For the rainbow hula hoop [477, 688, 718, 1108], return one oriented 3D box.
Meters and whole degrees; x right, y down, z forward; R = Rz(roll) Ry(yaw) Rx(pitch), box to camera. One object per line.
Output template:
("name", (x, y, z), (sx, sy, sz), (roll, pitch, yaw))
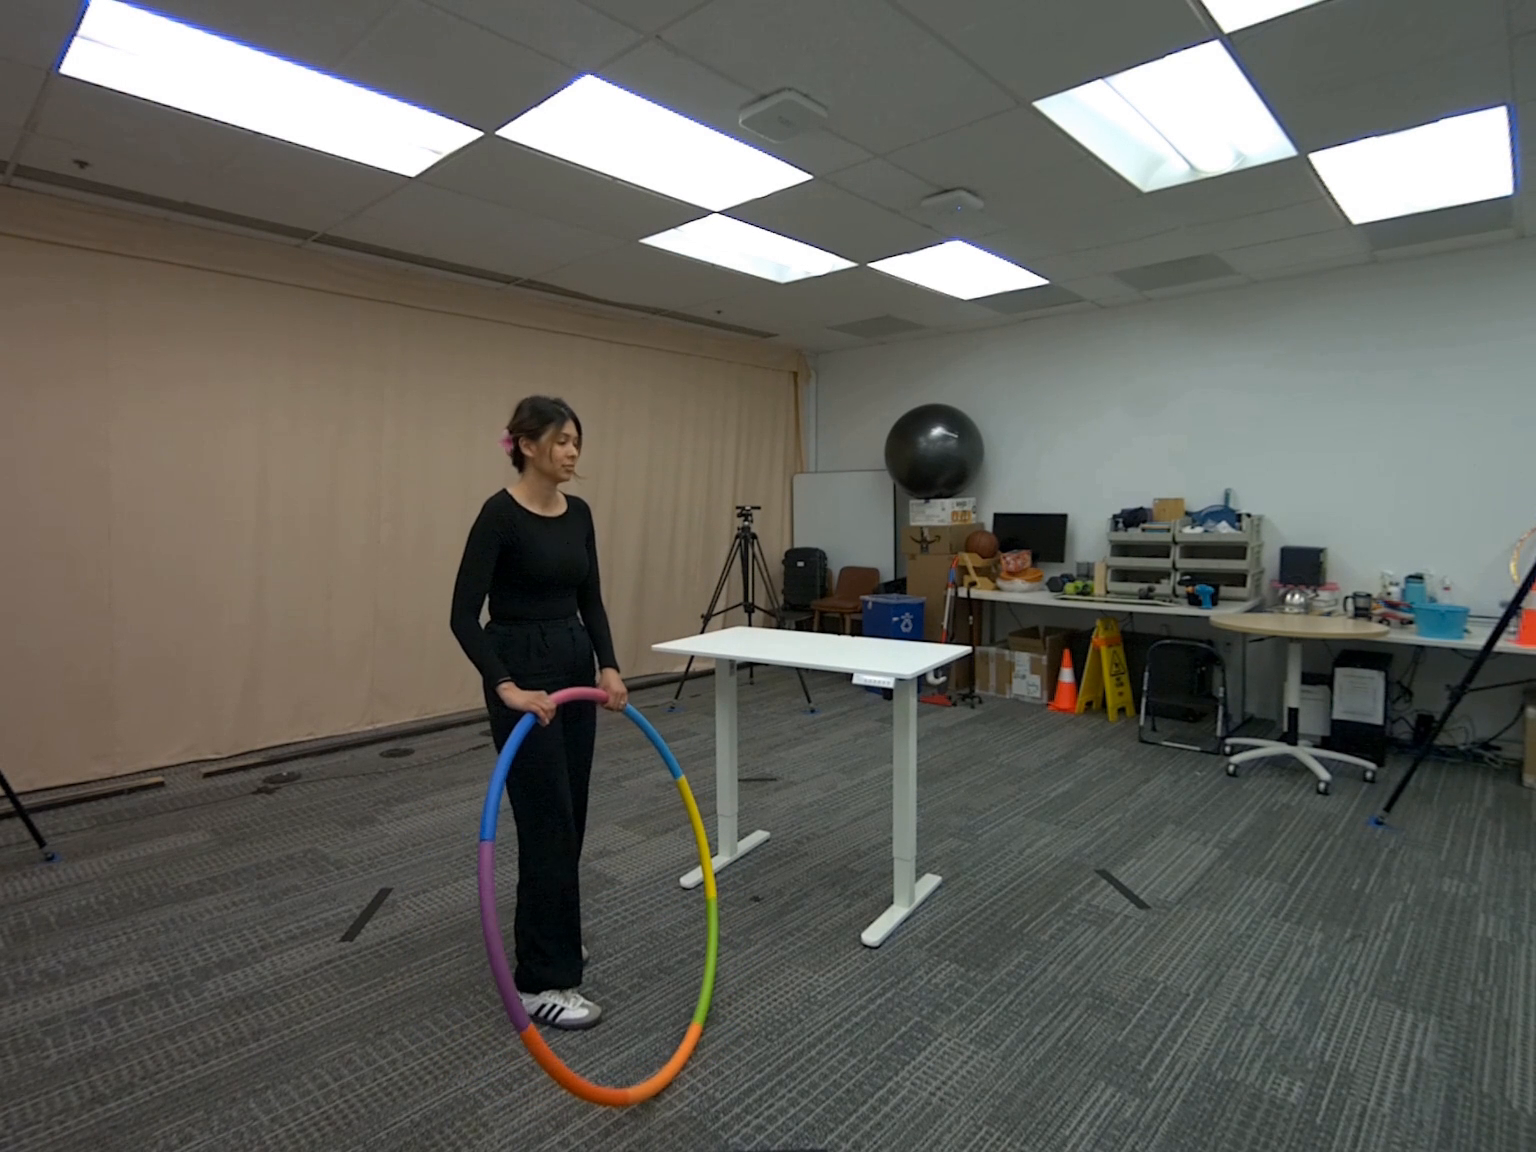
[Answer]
("rainbow hula hoop", (-0.381, 0.763, 2.133), (0.036, 0.983, 0.959), (-22, -4, 19))
